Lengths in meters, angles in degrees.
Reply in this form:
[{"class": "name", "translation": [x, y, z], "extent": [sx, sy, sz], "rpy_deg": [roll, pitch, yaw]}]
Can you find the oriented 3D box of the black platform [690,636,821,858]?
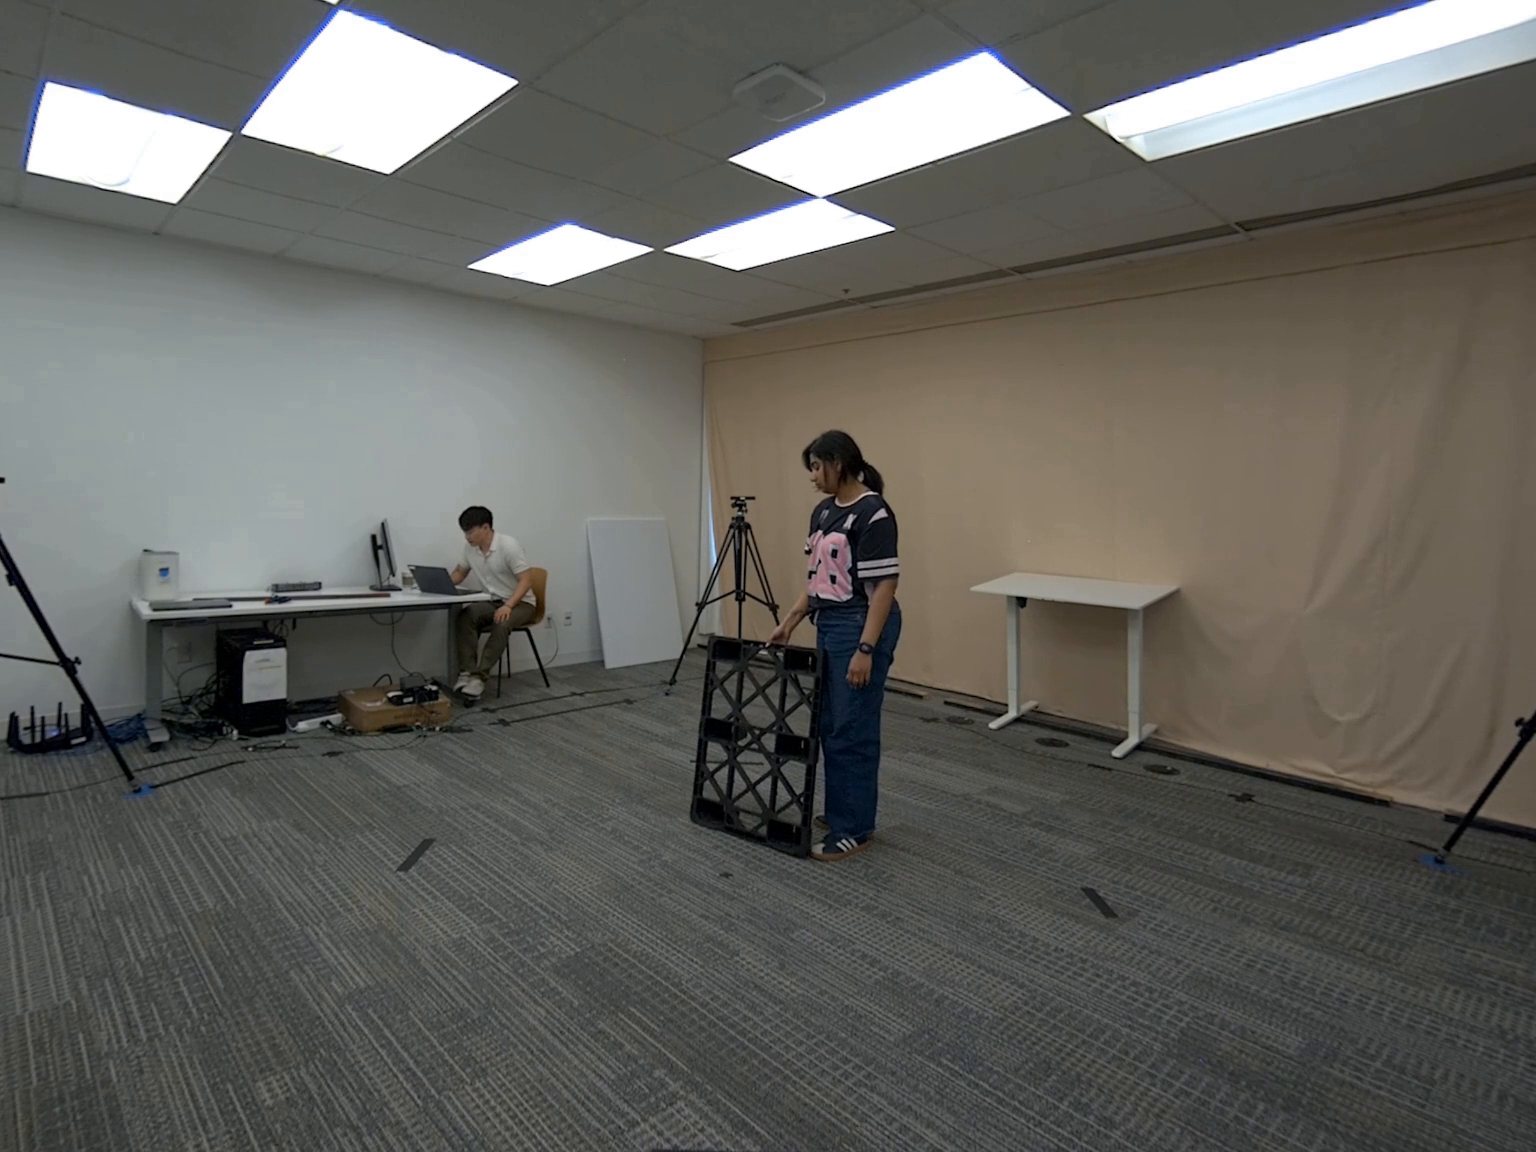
[{"class": "black platform", "translation": [-0.031, 0.680, 3.505], "extent": [0.620, 0.808, 0.139], "rpy_deg": [3, -5, 40]}]
